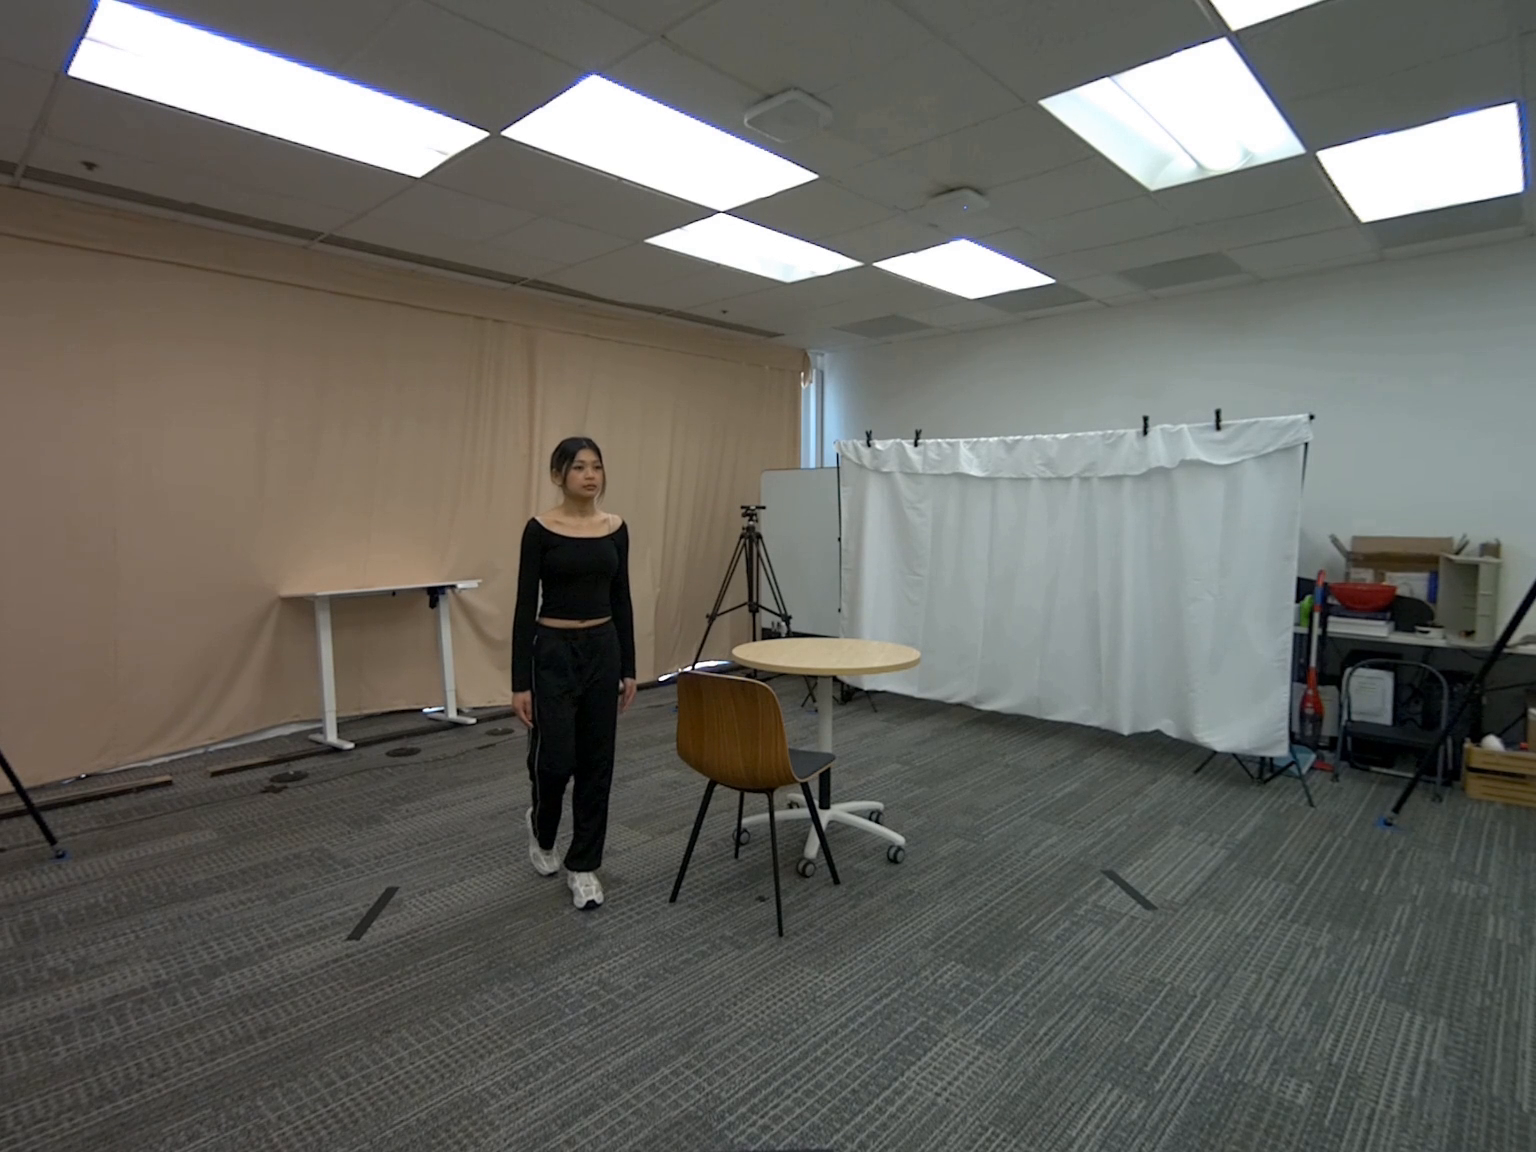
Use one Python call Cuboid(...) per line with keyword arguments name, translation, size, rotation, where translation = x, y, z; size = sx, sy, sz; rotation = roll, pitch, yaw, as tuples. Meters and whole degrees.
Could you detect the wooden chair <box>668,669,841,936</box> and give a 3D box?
Cuboid(name="wooden chair", translation=(-0.037, 0.714, 3.000), size=(0.492, 0.873, 0.510), rotation=(2, 9, 31))
